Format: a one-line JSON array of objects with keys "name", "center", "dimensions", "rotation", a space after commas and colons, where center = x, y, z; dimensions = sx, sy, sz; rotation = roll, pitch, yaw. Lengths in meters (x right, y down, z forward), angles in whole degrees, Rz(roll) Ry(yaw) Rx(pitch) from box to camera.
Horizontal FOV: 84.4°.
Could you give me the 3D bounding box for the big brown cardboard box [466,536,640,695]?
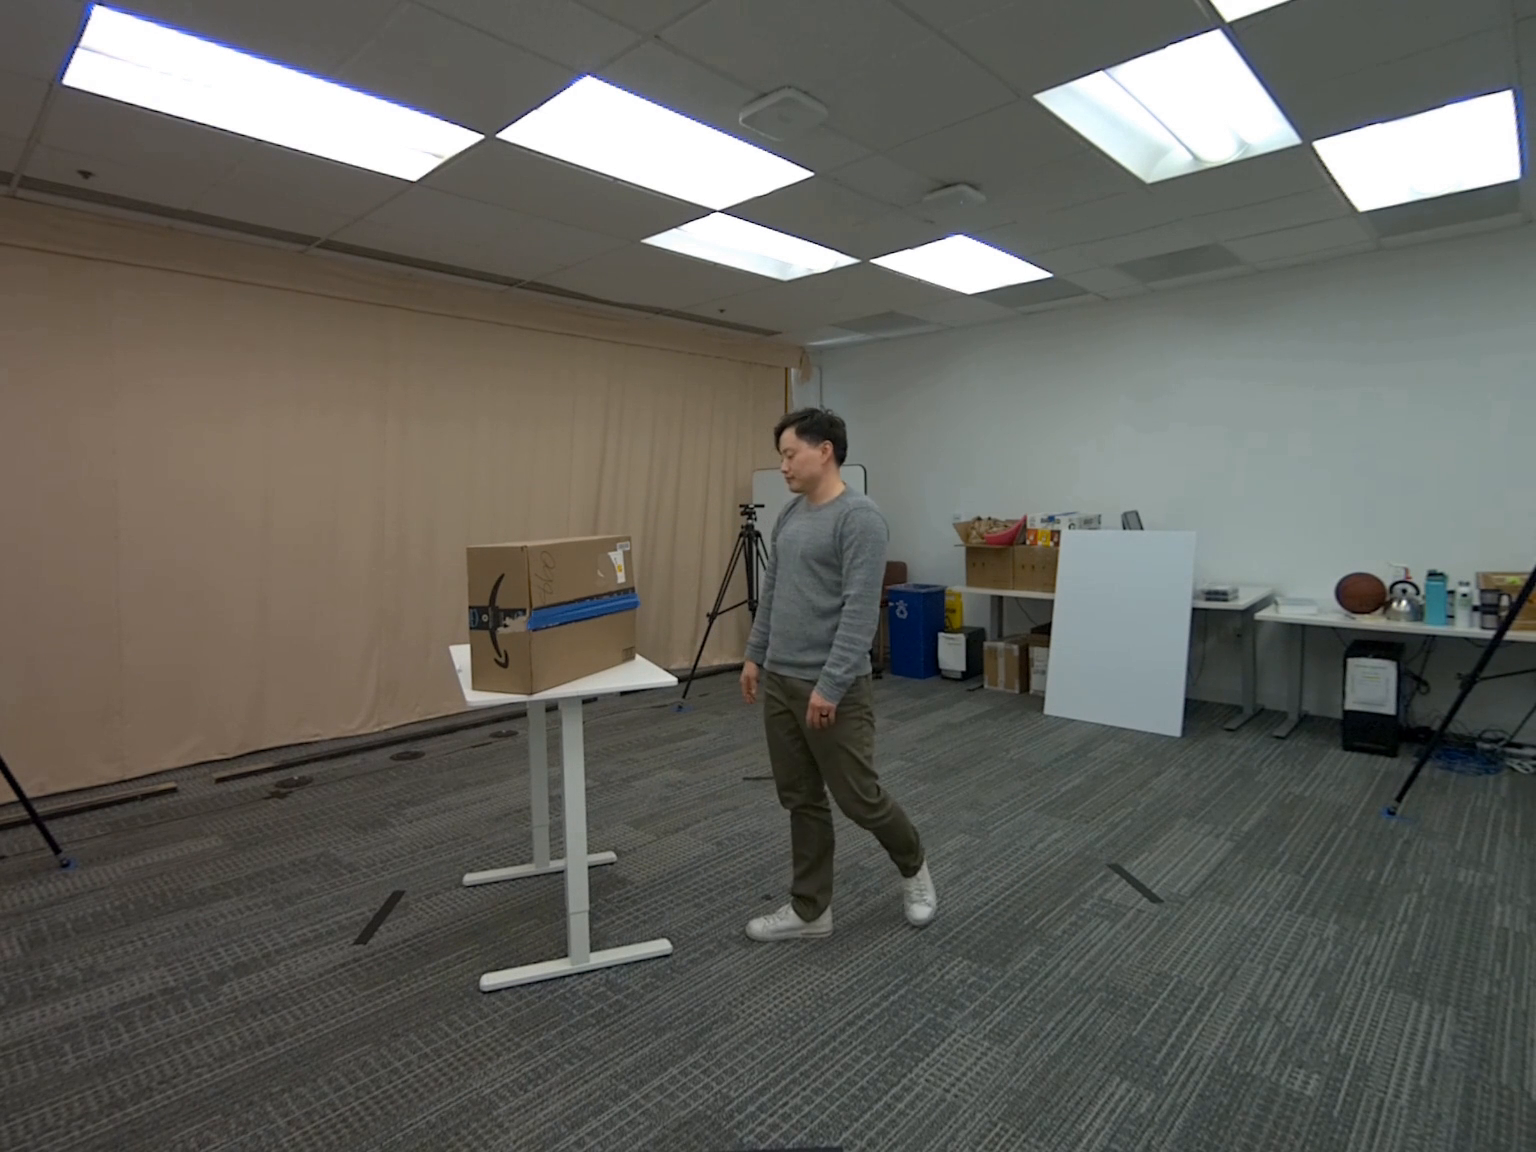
[{"name": "big brown cardboard box", "center": [-0.649, 0.100, 2.626], "dimensions": [0.239, 0.416, 0.576], "rotation": [-1, 5, 23]}]
